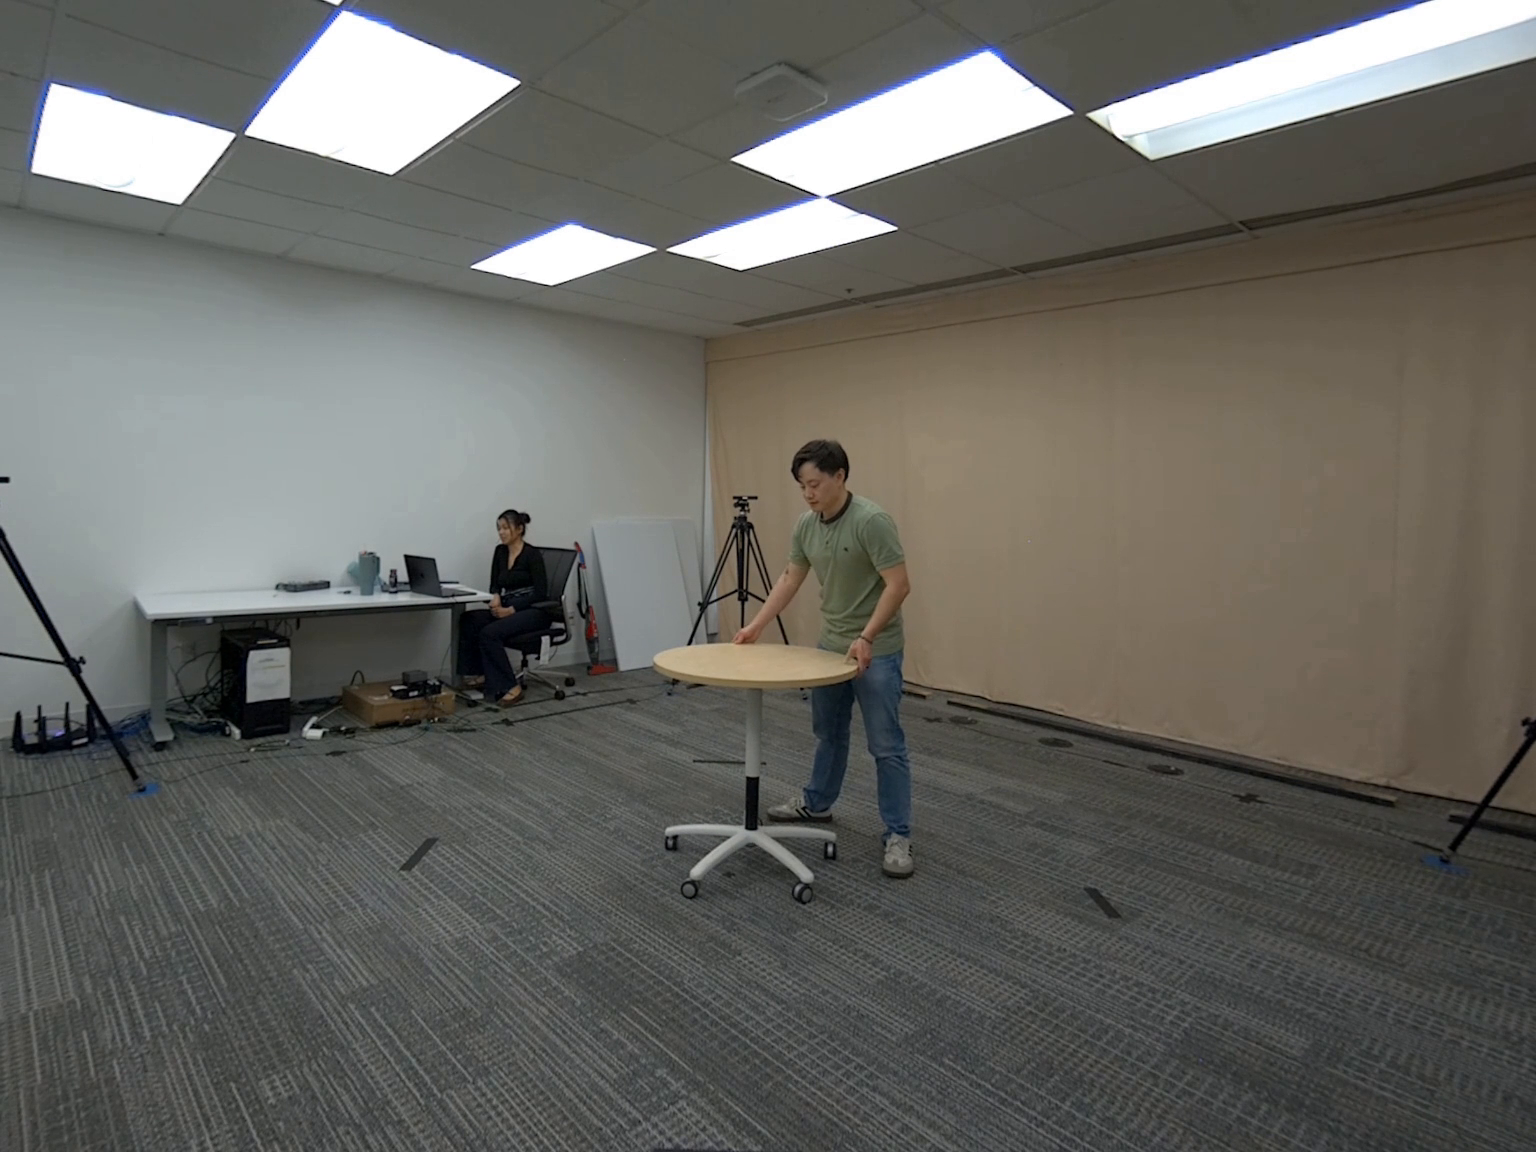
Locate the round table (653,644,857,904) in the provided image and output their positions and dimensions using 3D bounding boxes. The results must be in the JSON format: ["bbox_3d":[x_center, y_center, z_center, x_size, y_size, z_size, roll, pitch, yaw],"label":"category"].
[{"bbox_3d":[-0.069,0.708,3.172,0.763,0.792,0.766,2,4,-1],"label":"round table"}]
